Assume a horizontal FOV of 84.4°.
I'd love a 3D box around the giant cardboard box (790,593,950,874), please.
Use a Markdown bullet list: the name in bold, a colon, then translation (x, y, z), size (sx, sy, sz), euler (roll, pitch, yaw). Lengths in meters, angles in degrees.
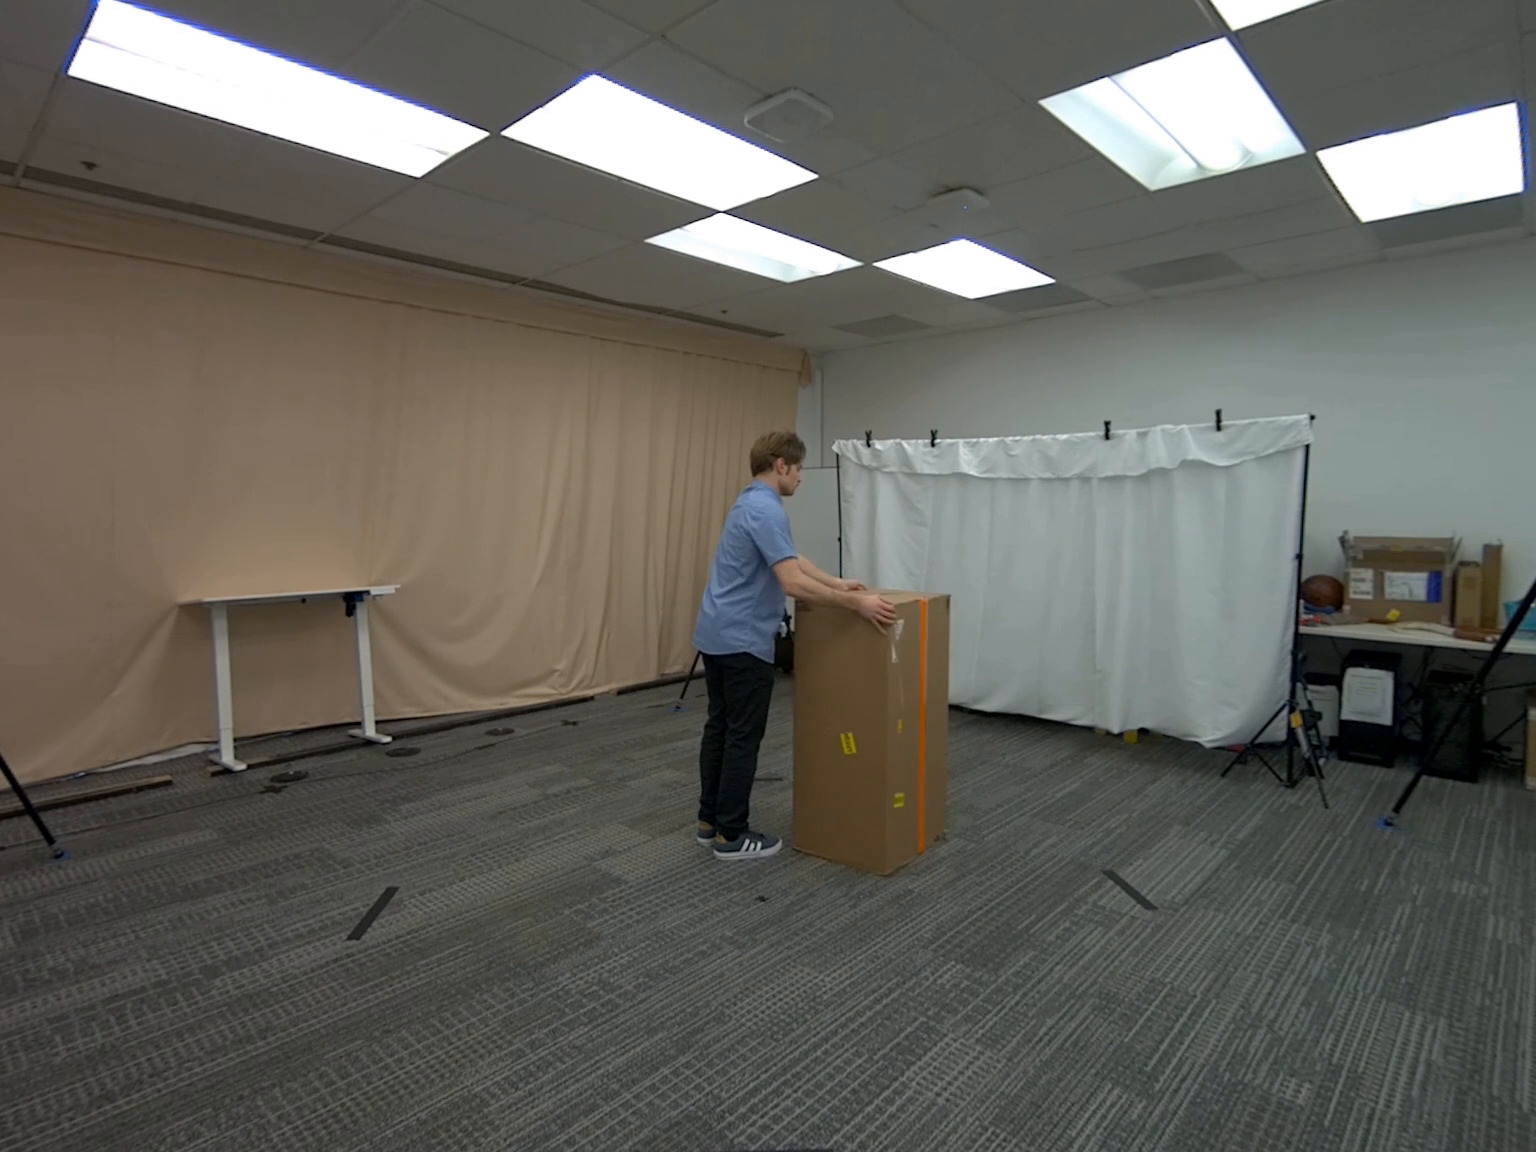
- **giant cardboard box**: translation (0.437, 0.593, 3.486), size (0.440, 1.024, 0.560), euler (3, 3, 36)
